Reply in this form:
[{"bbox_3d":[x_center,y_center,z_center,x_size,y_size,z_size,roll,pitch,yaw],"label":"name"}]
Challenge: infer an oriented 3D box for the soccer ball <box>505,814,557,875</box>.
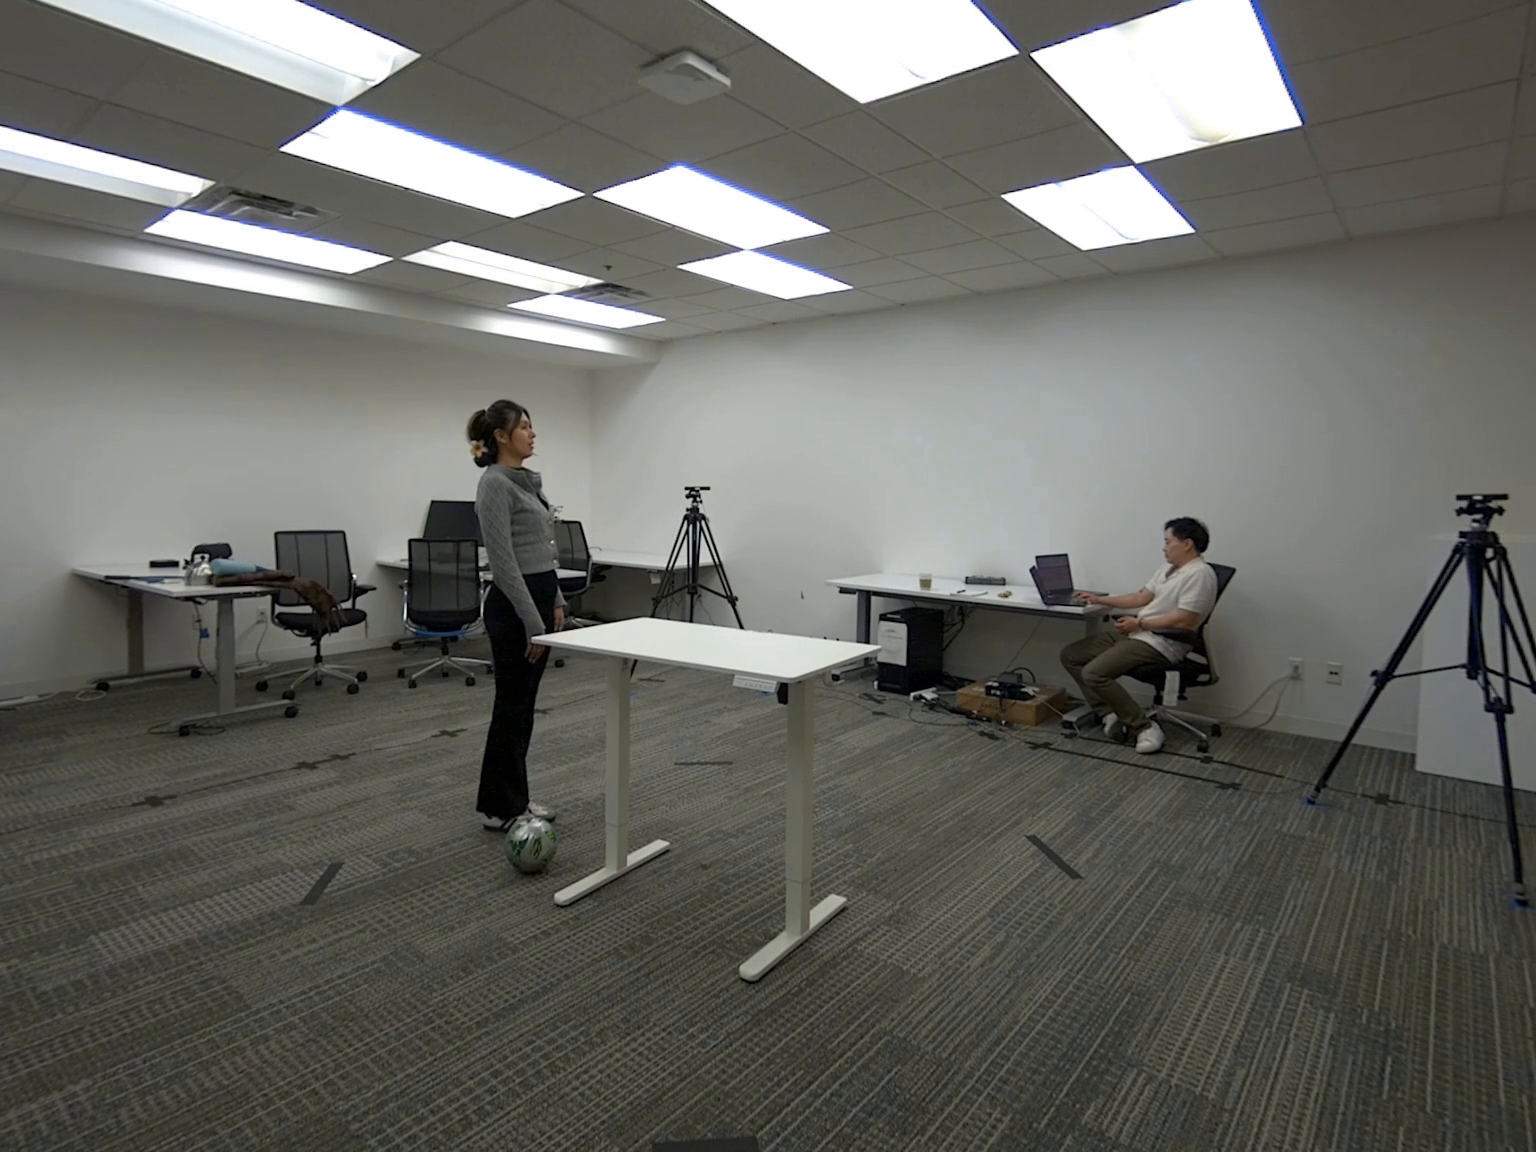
[{"bbox_3d":[-0.870,0.968,3.066,0.187,0.187,0.188,0,4,-2],"label":"soccer ball"}]
